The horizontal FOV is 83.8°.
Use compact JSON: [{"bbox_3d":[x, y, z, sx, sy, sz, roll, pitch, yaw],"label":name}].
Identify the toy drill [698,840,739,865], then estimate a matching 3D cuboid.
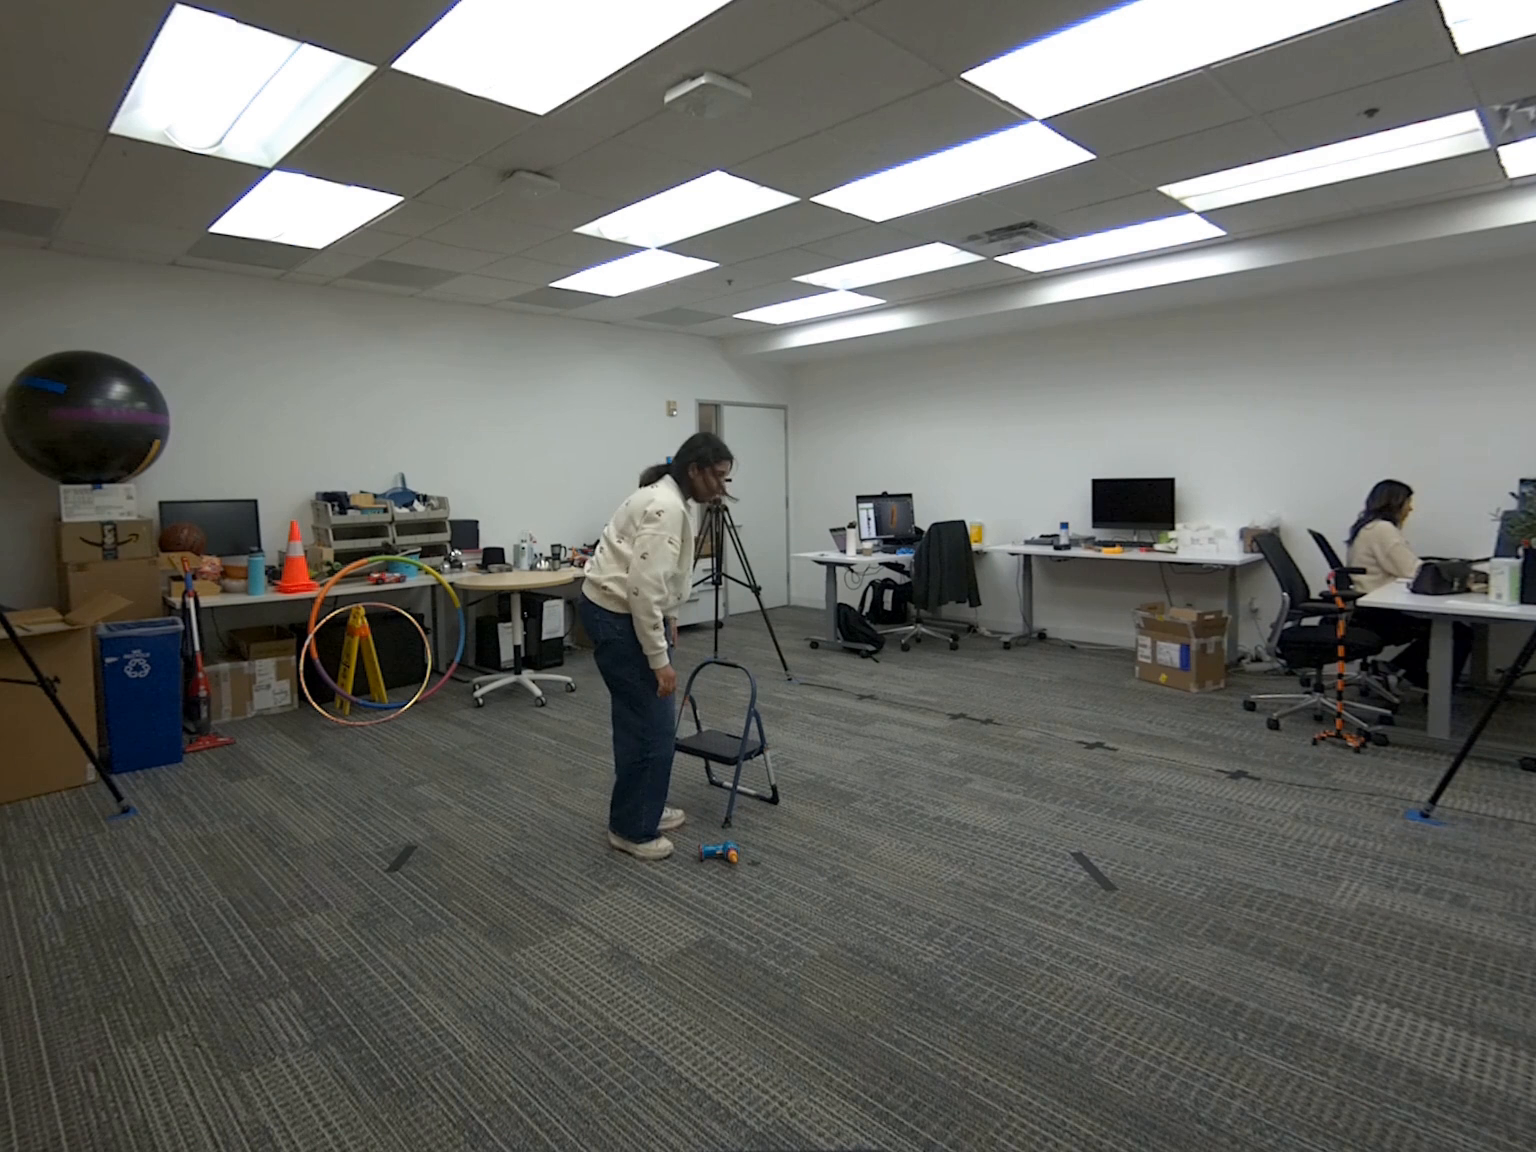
[{"bbox_3d":[-0.195,1.022,3.128,0.145,0.061,0.172,-3,6,-9],"label":"toy drill"}]
